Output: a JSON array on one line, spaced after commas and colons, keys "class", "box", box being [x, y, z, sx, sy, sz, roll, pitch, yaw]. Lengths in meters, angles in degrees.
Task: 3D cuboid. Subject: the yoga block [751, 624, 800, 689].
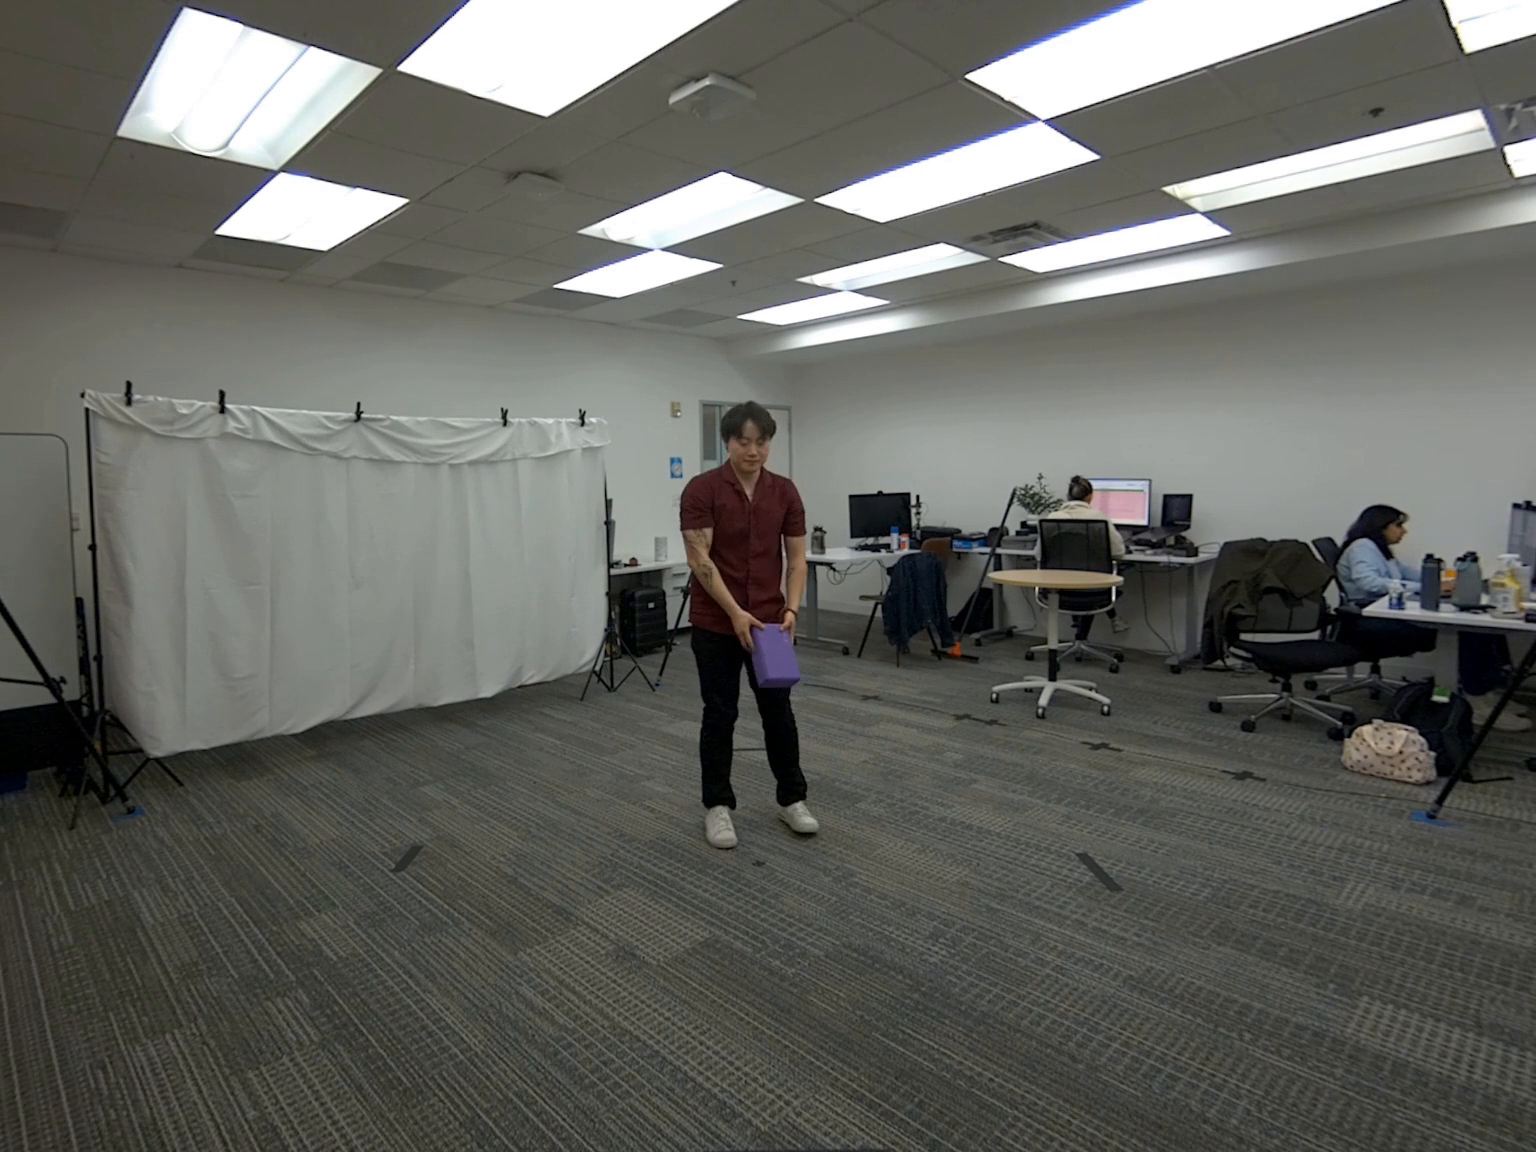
[{"class": "yoga block", "box": [0.019, 0.297, 3.164, 0.145, 0.236, 0.076, 3, -33, -28]}]
